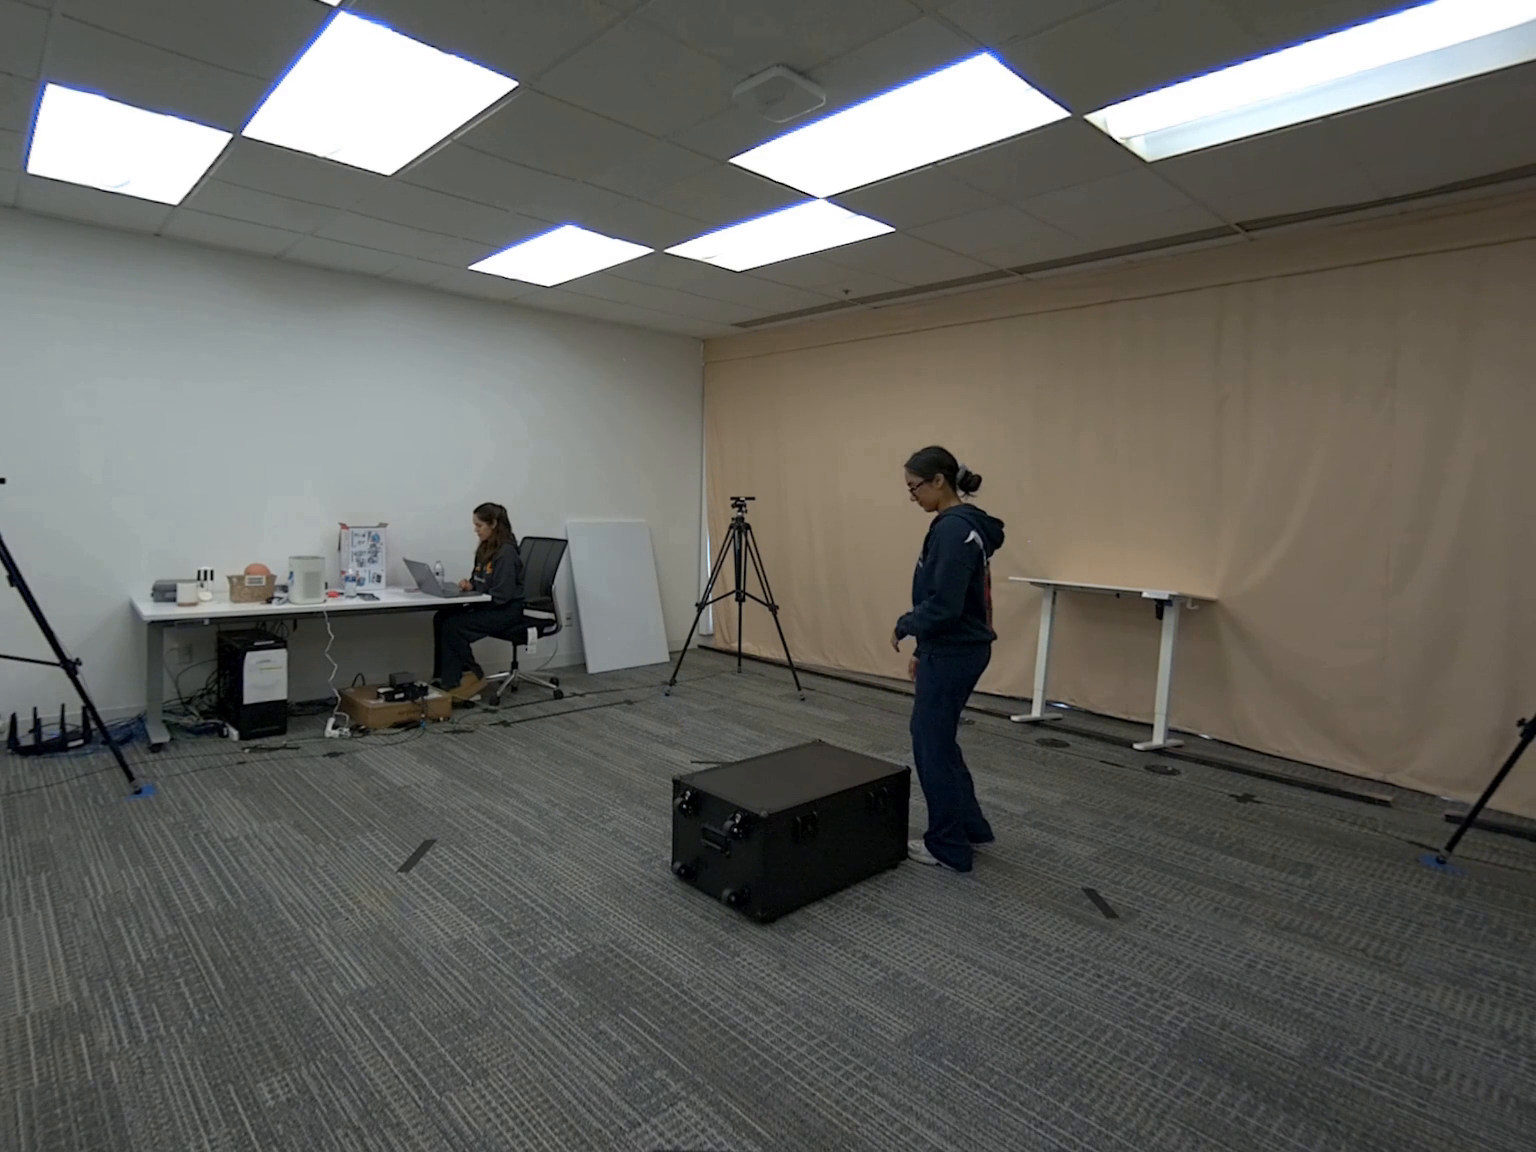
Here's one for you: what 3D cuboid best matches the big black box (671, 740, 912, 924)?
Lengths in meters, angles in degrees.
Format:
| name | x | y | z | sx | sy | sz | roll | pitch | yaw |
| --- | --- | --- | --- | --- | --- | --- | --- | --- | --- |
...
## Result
| name | x | y | z | sx | sy | sz | roll | pitch | yaw |
| --- | --- | --- | --- | --- | --- | --- | --- | --- | --- |
| big black box | 0.064 | 0.920 | 3.124 | 0.841 | 0.395 | 0.534 | -2 | 5 | -44 |
